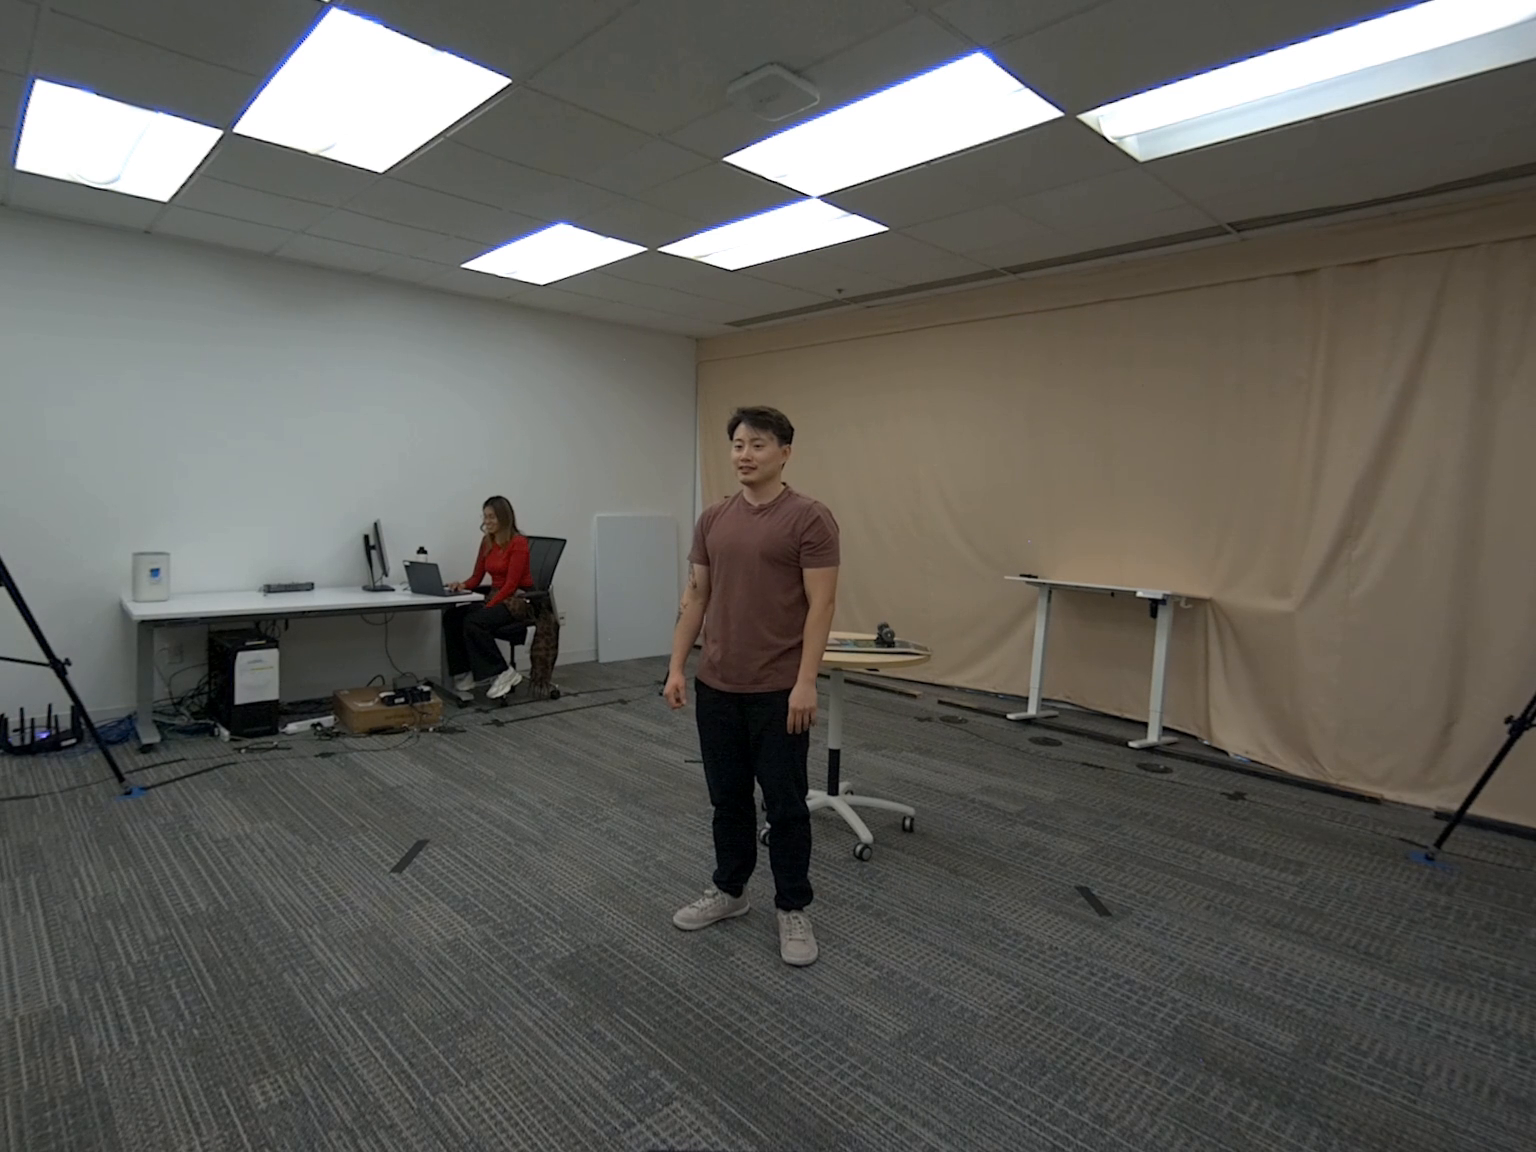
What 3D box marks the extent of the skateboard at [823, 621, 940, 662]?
[{"bbox_3d":[0.282,0.255,3.462,0.787,0.110,0.194,2,6,2],"label":"skateboard"}]
